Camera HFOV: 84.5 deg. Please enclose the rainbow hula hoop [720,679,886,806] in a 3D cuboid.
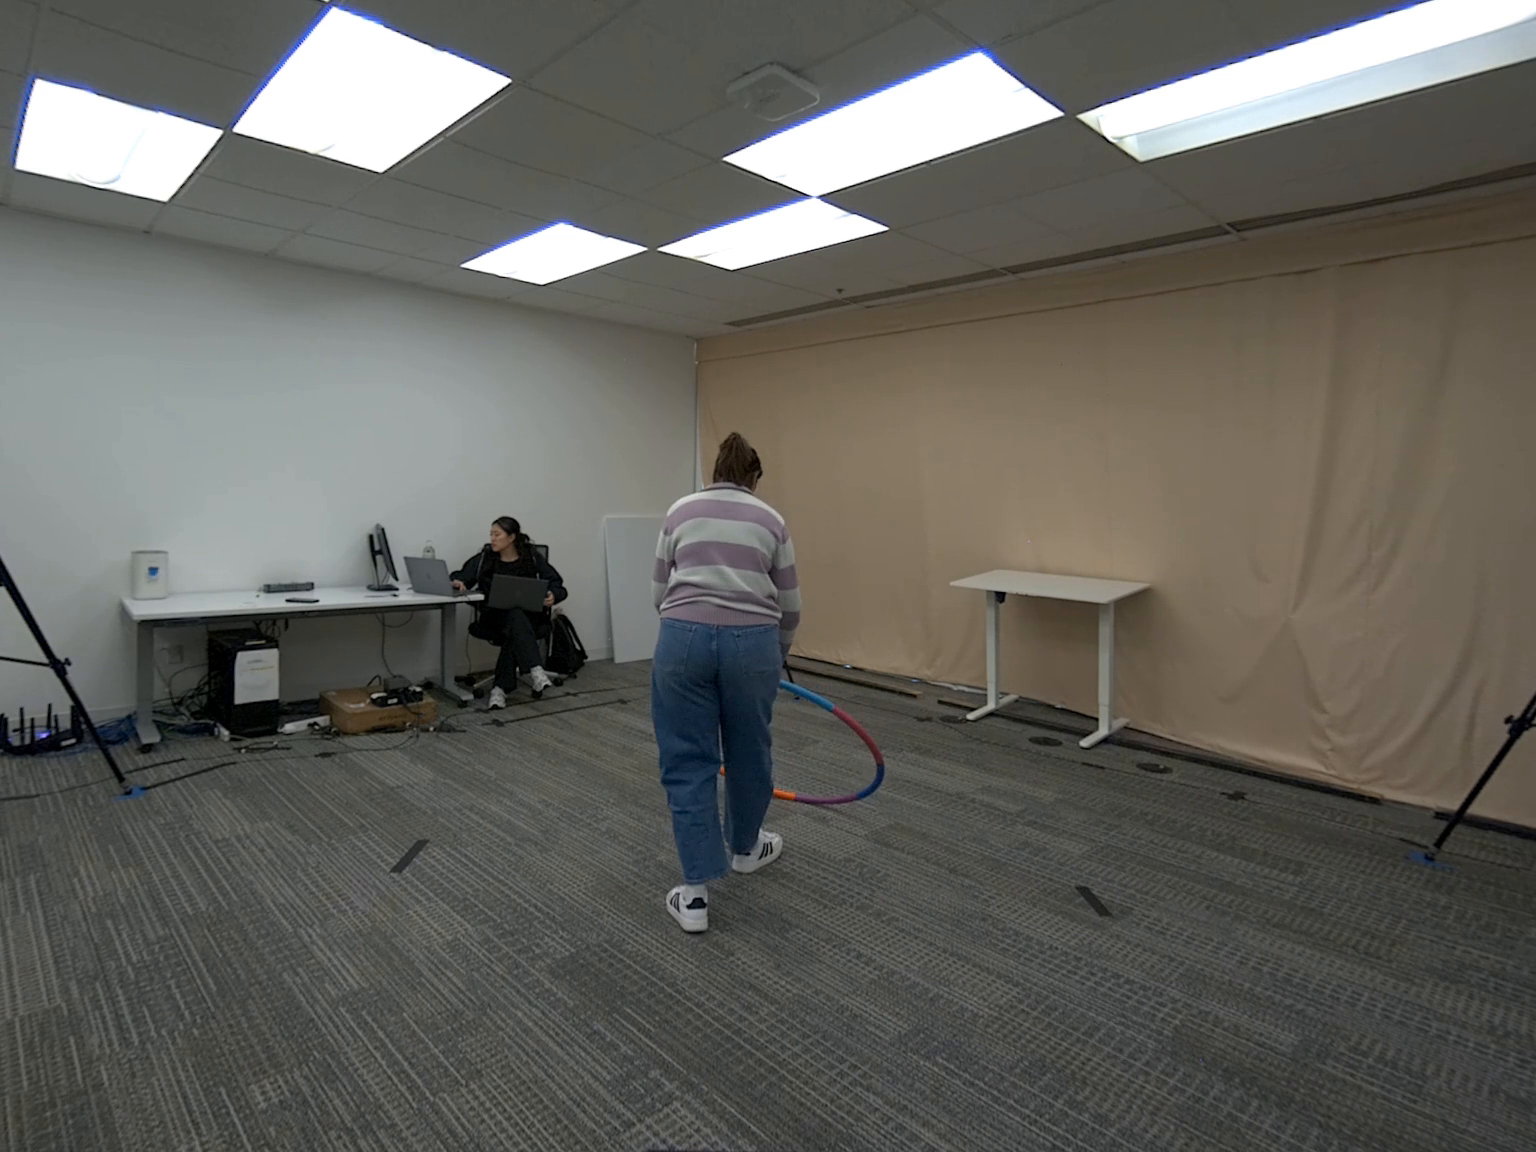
[{"bbox_3d":[0.006,0.707,3.590,0.998,0.950,0.036,4,48,27],"label":"rainbow hula hoop"}]
